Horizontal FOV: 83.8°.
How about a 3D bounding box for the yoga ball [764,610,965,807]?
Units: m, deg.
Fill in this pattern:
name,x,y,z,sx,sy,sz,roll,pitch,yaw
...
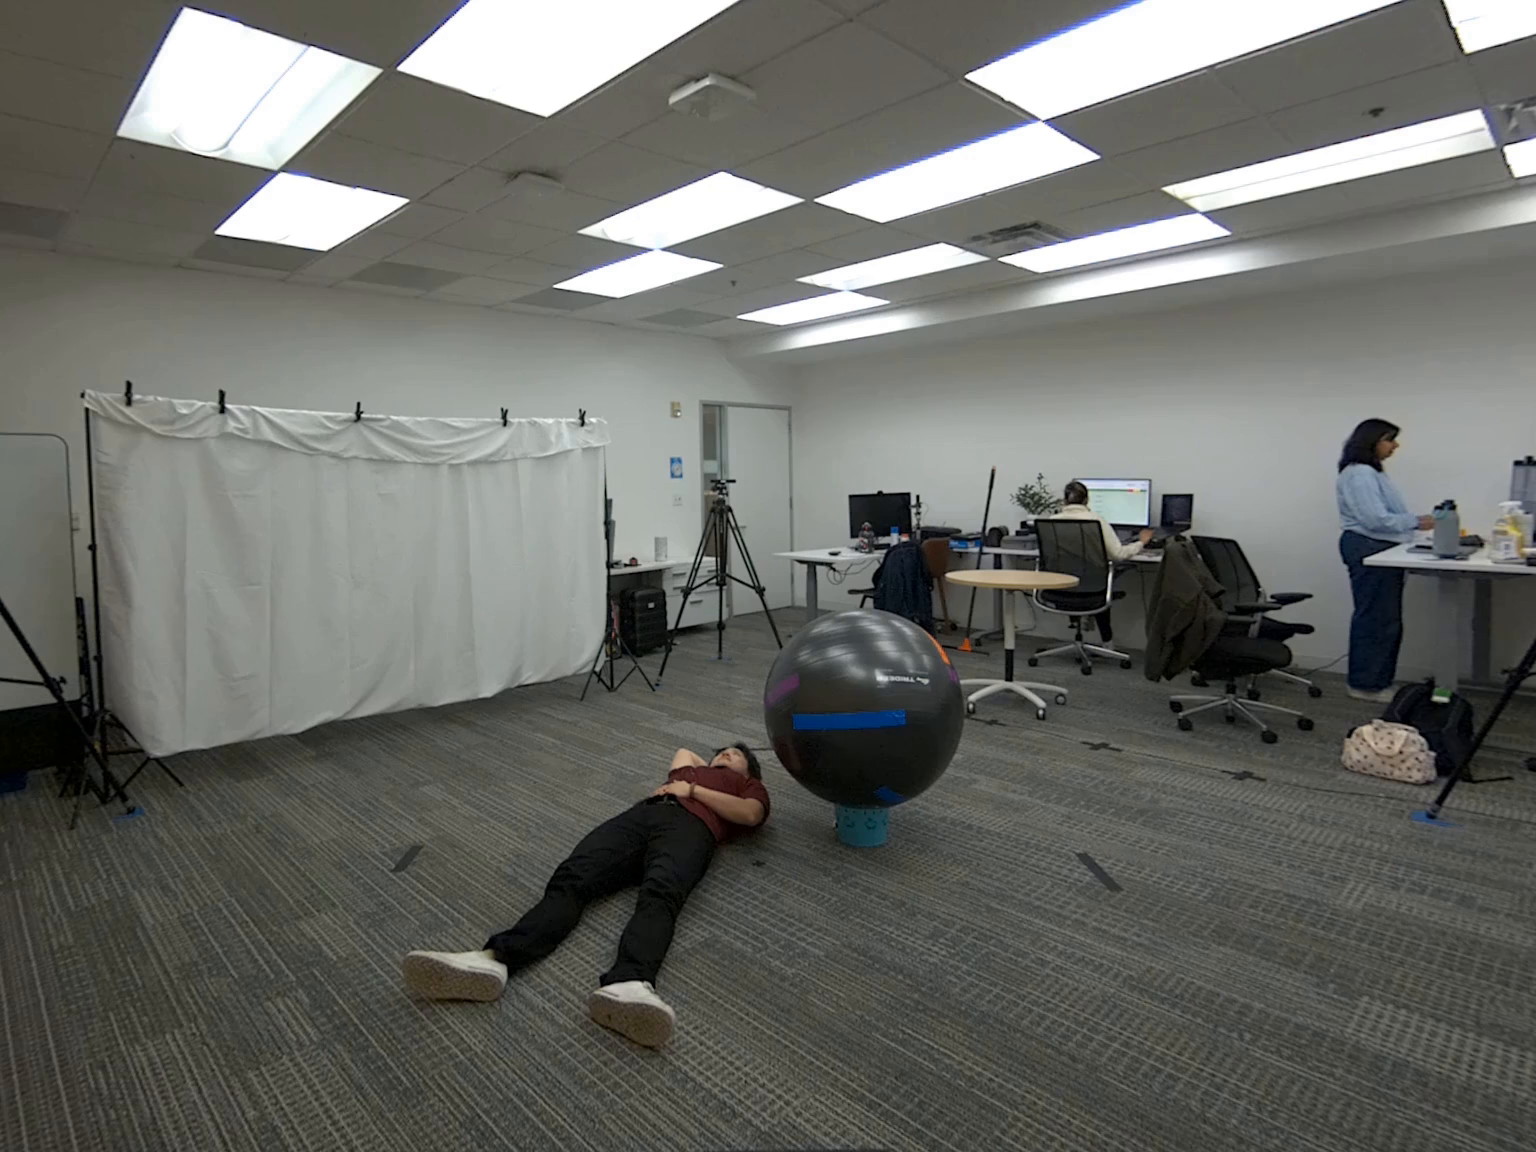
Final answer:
name,x,y,z,sx,sy,sz,roll,pitch,yaw
yoga ball,0.364,0.515,3.294,0.757,0.755,0.762,-1,5,-2
